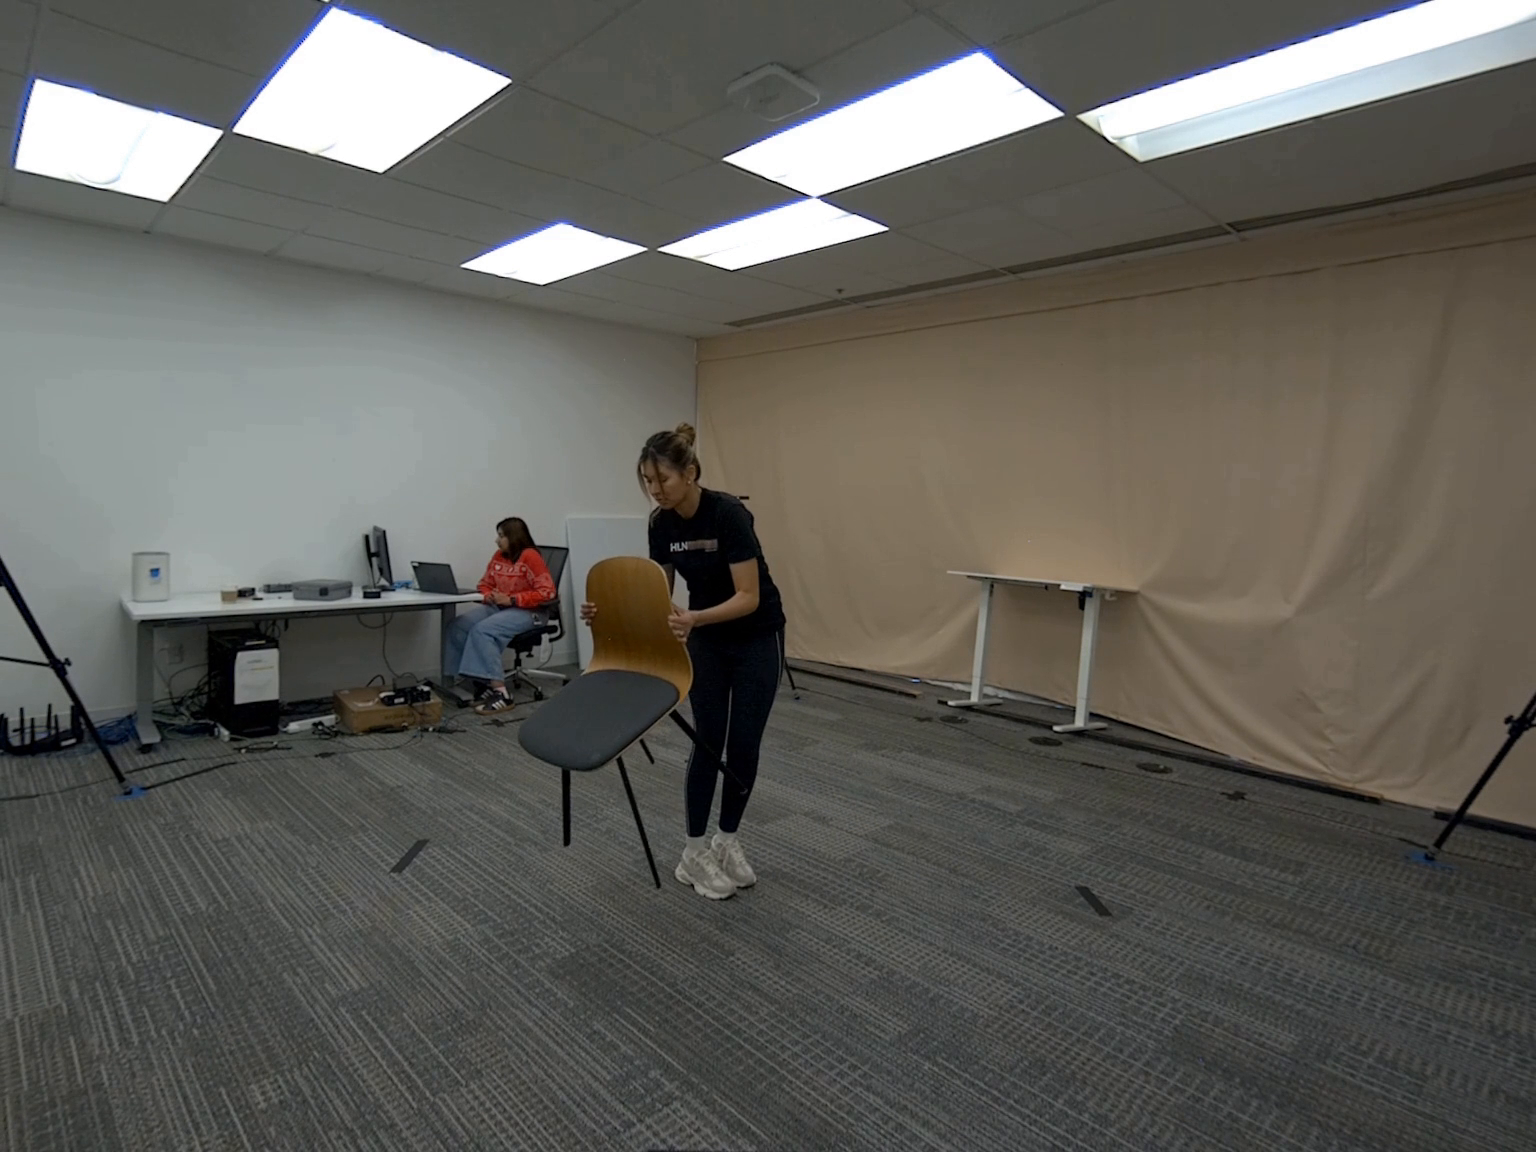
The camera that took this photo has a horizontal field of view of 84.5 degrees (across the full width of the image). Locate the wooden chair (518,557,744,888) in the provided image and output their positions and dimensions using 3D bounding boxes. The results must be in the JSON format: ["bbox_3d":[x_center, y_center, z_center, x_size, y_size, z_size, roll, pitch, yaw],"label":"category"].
[{"bbox_3d":[-0.486,0.447,2.637,0.490,0.862,0.519,5,27,39],"label":"wooden chair"}]
